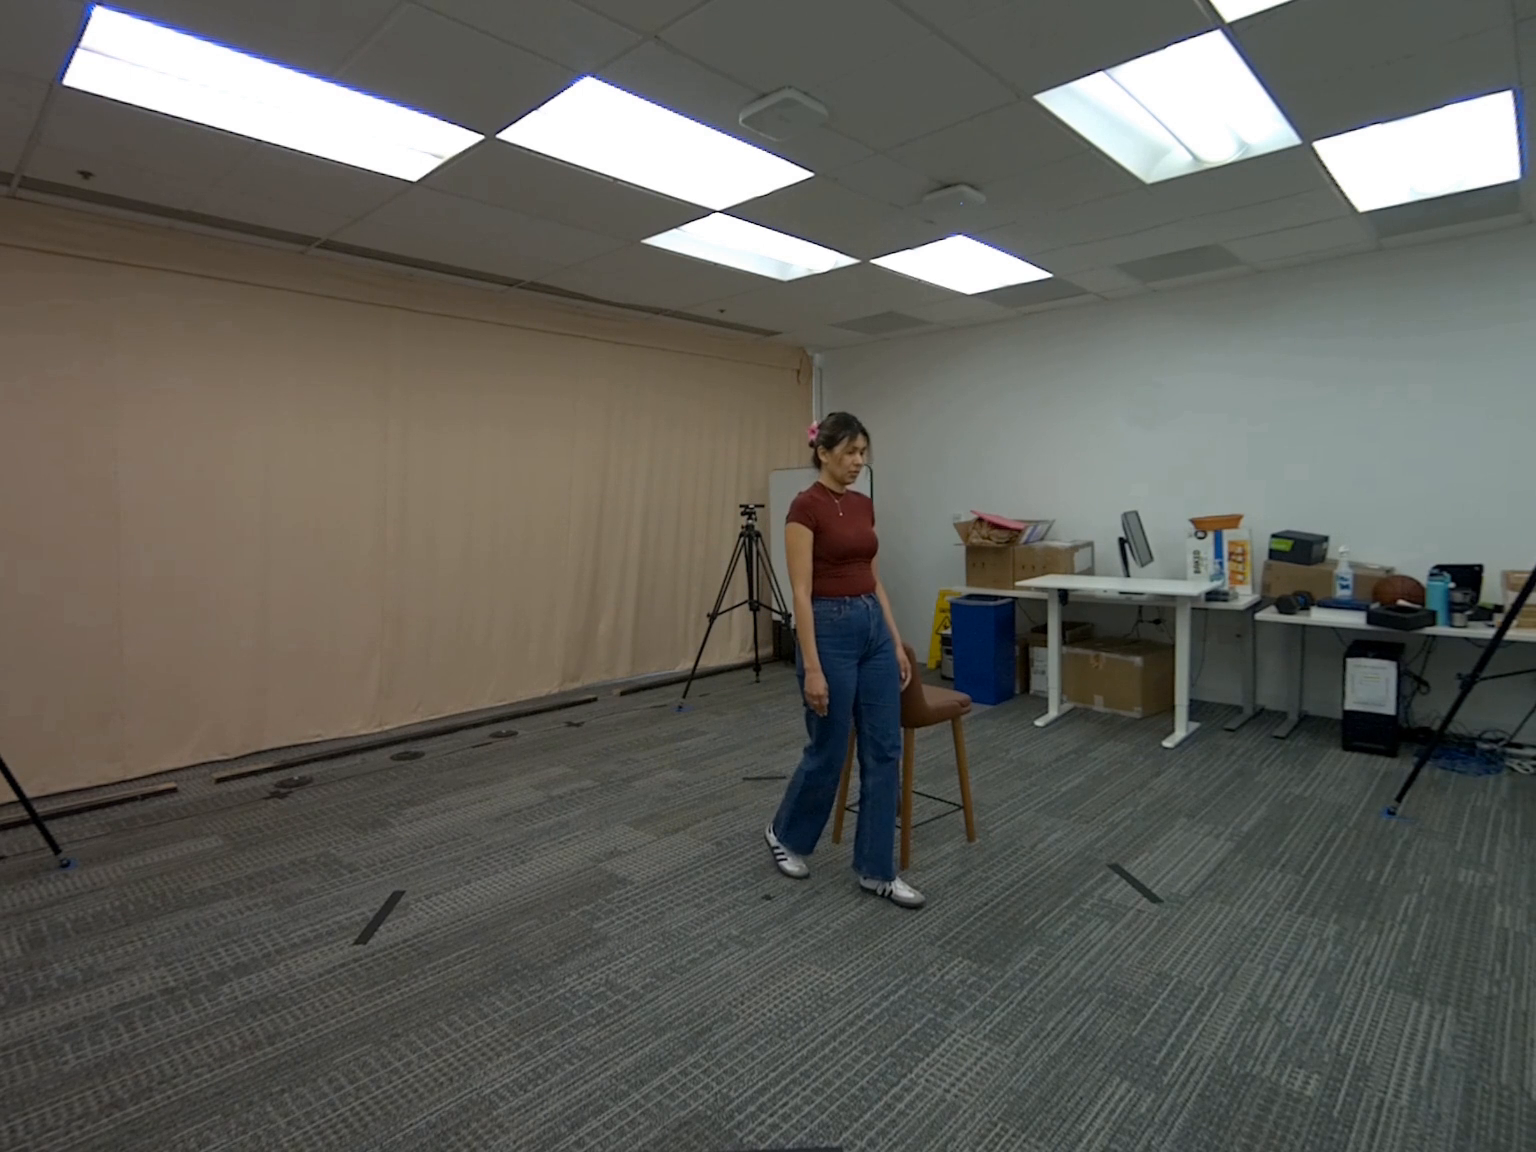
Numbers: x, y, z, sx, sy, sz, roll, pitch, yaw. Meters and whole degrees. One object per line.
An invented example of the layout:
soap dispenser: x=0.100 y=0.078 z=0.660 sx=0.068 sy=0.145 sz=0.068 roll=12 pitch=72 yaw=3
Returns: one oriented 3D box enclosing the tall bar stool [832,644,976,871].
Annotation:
tall bar stool: x=0.544 y=0.653 z=3.439 sx=0.454 sy=0.887 sz=0.471 roll=-6 pitch=6 yaw=-41
